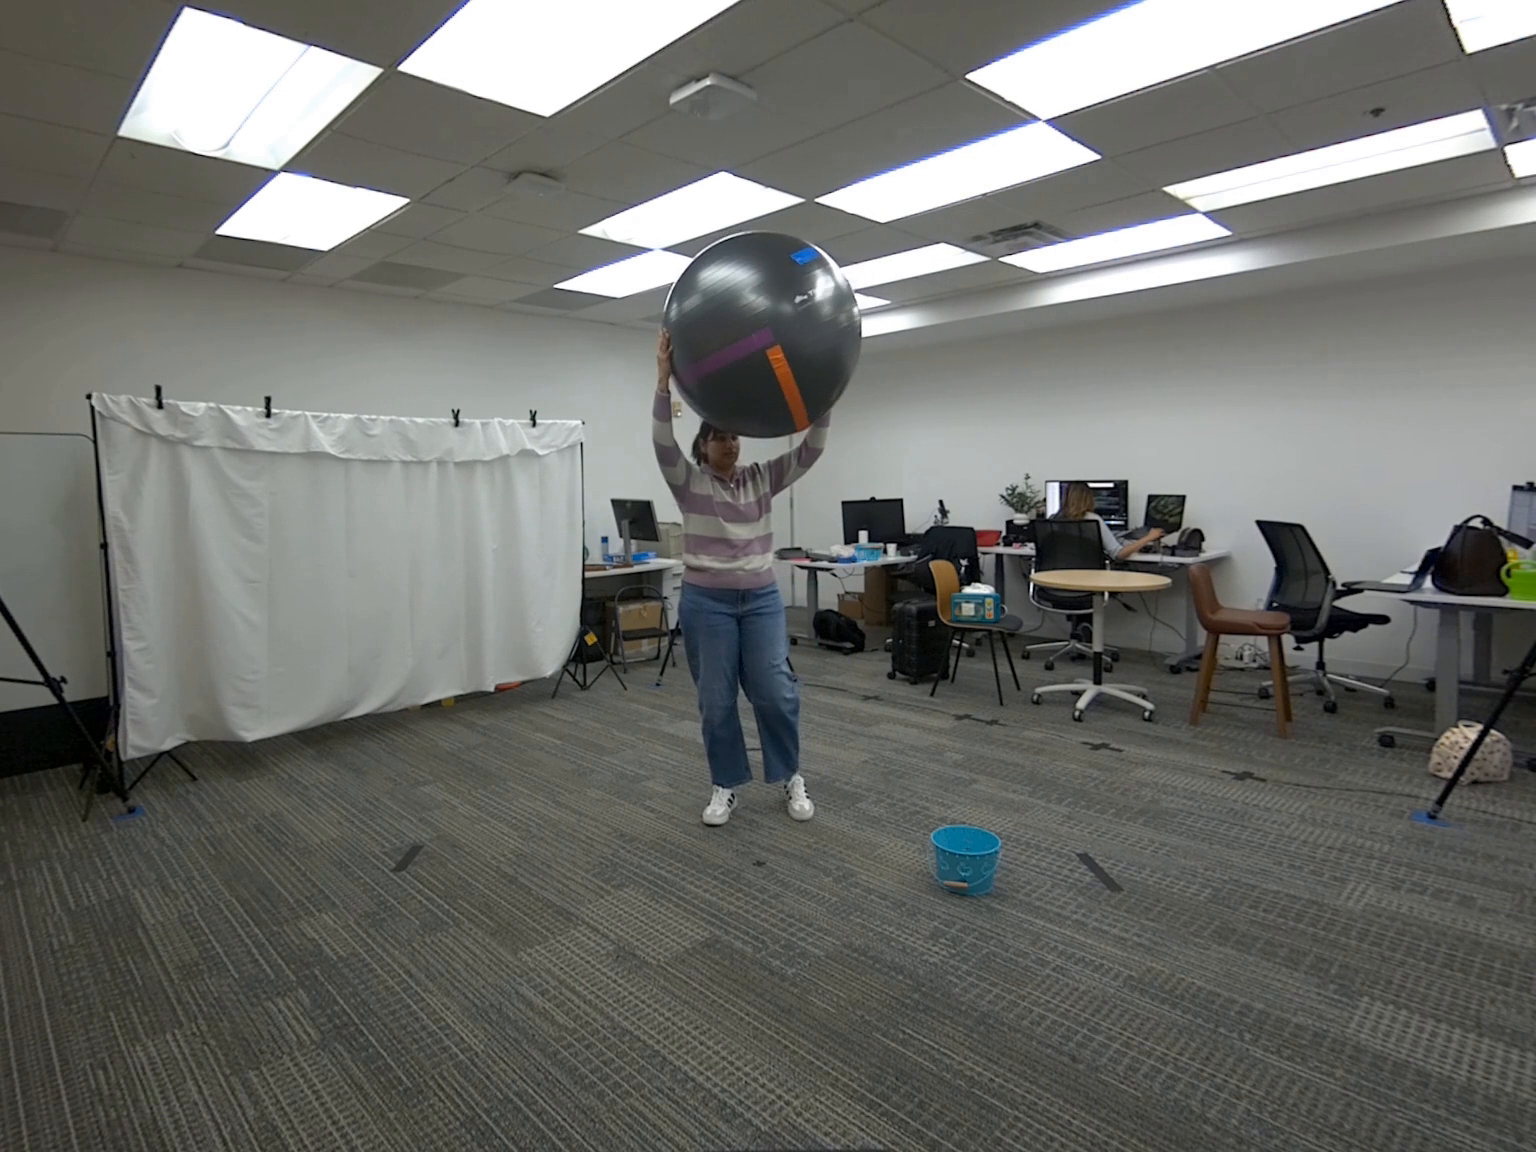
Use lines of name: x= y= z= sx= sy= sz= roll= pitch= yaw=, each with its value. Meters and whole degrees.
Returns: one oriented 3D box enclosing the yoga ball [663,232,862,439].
yoga ball: x=-0.021 y=-0.896 z=3.224 sx=0.757 sy=0.755 sz=0.762 roll=-1 pitch=5 yaw=-2
